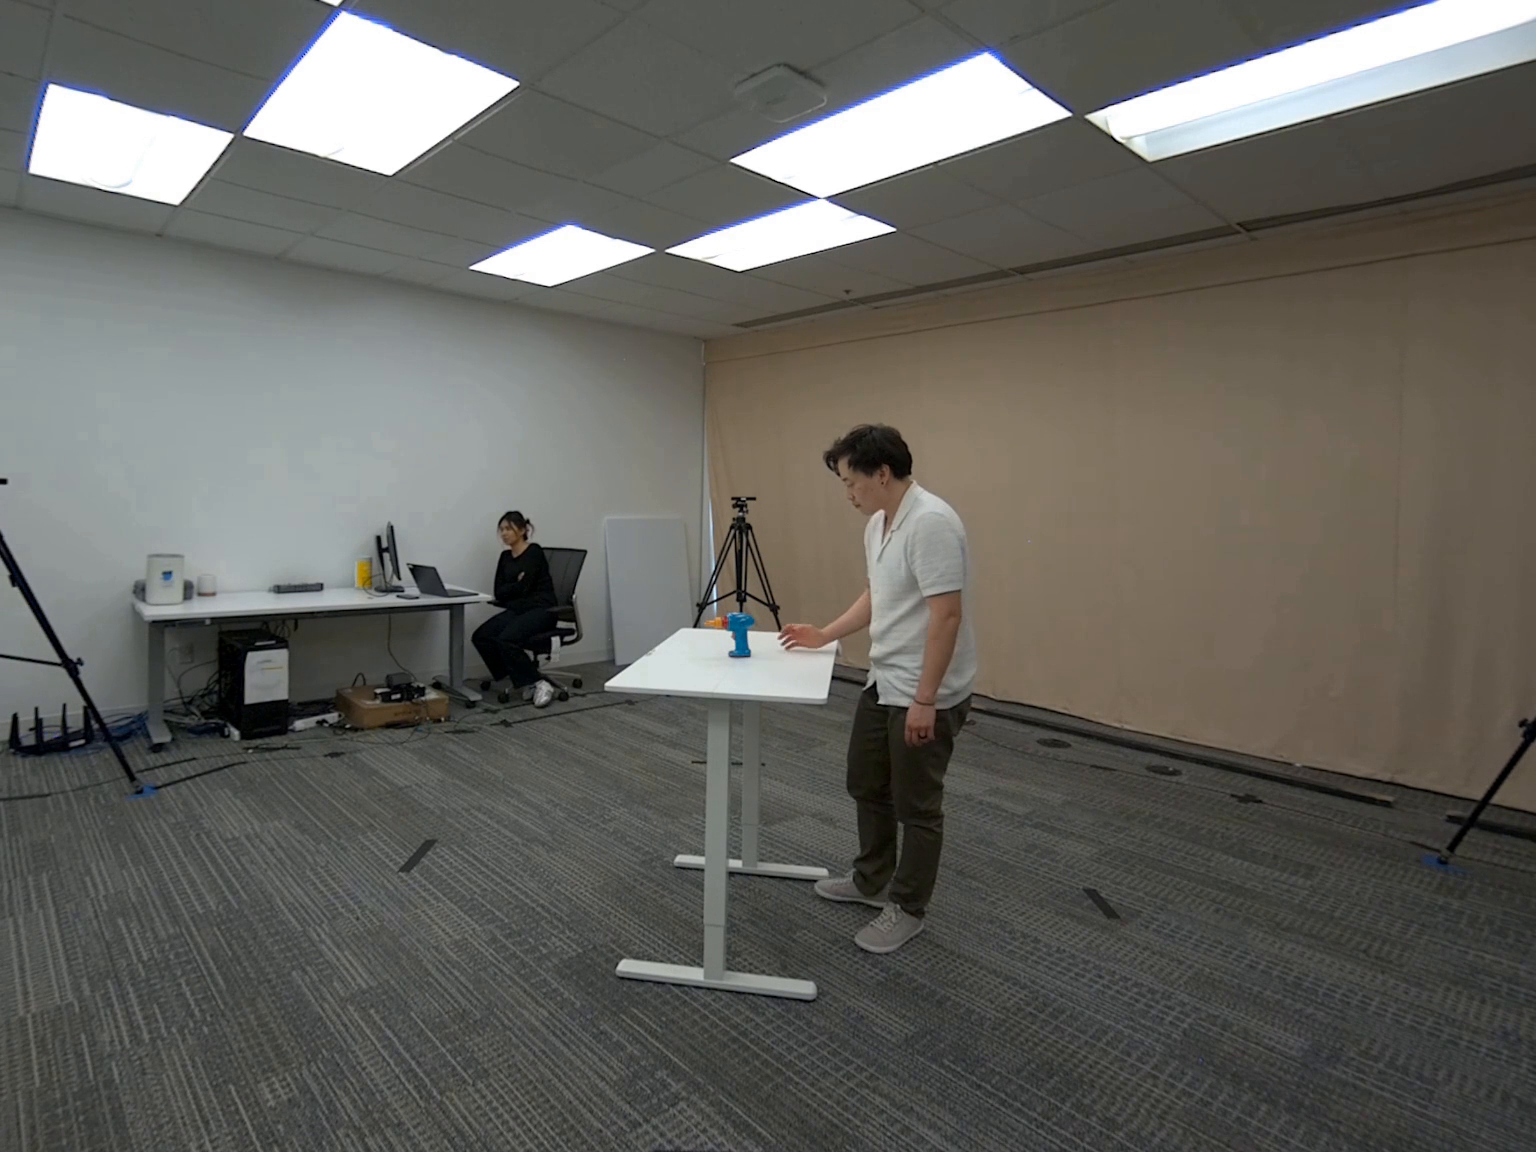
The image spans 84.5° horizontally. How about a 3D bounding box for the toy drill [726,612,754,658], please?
[{"bbox_3d":[-0.122,0.190,2.710,0.168,0.145,0.062,0,4,-16],"label":"toy drill"}]
